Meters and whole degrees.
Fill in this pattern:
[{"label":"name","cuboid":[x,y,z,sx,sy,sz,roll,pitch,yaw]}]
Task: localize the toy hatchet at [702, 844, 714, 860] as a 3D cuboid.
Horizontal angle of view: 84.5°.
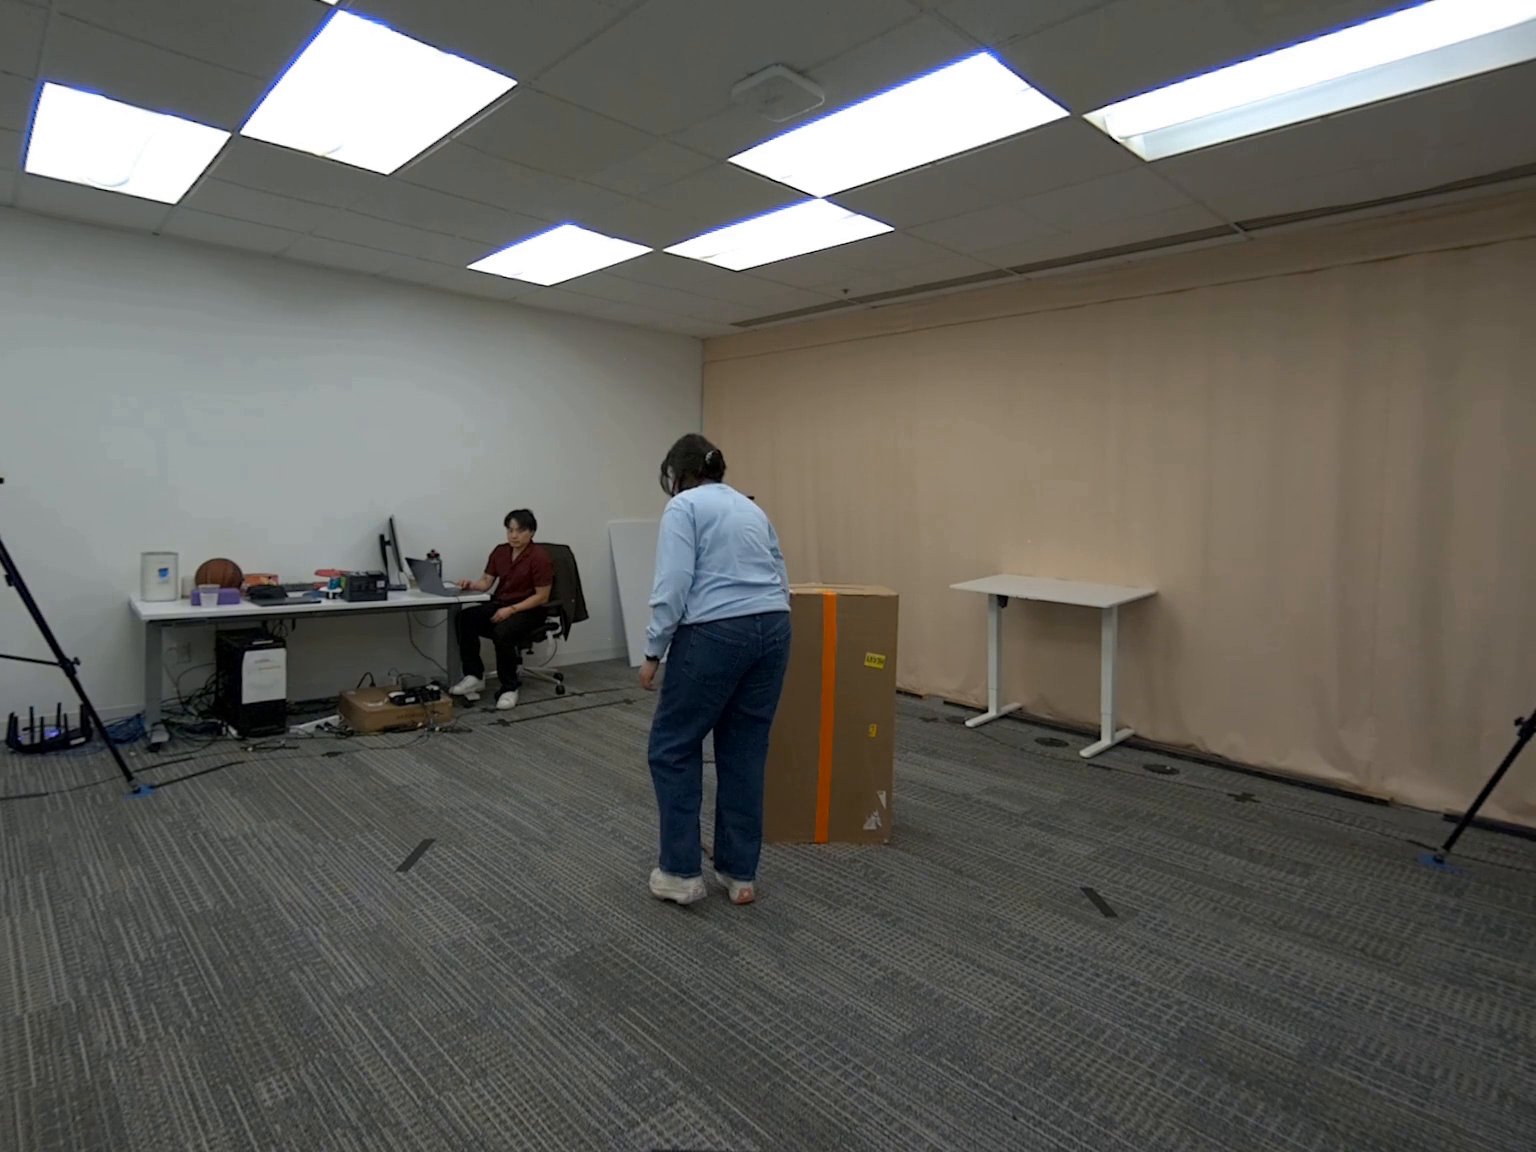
[{"label":"toy hatchet","cuboid":[-0.314,1.071,3.330,0.128,0.029,0.276,-3,9,-28]}]
